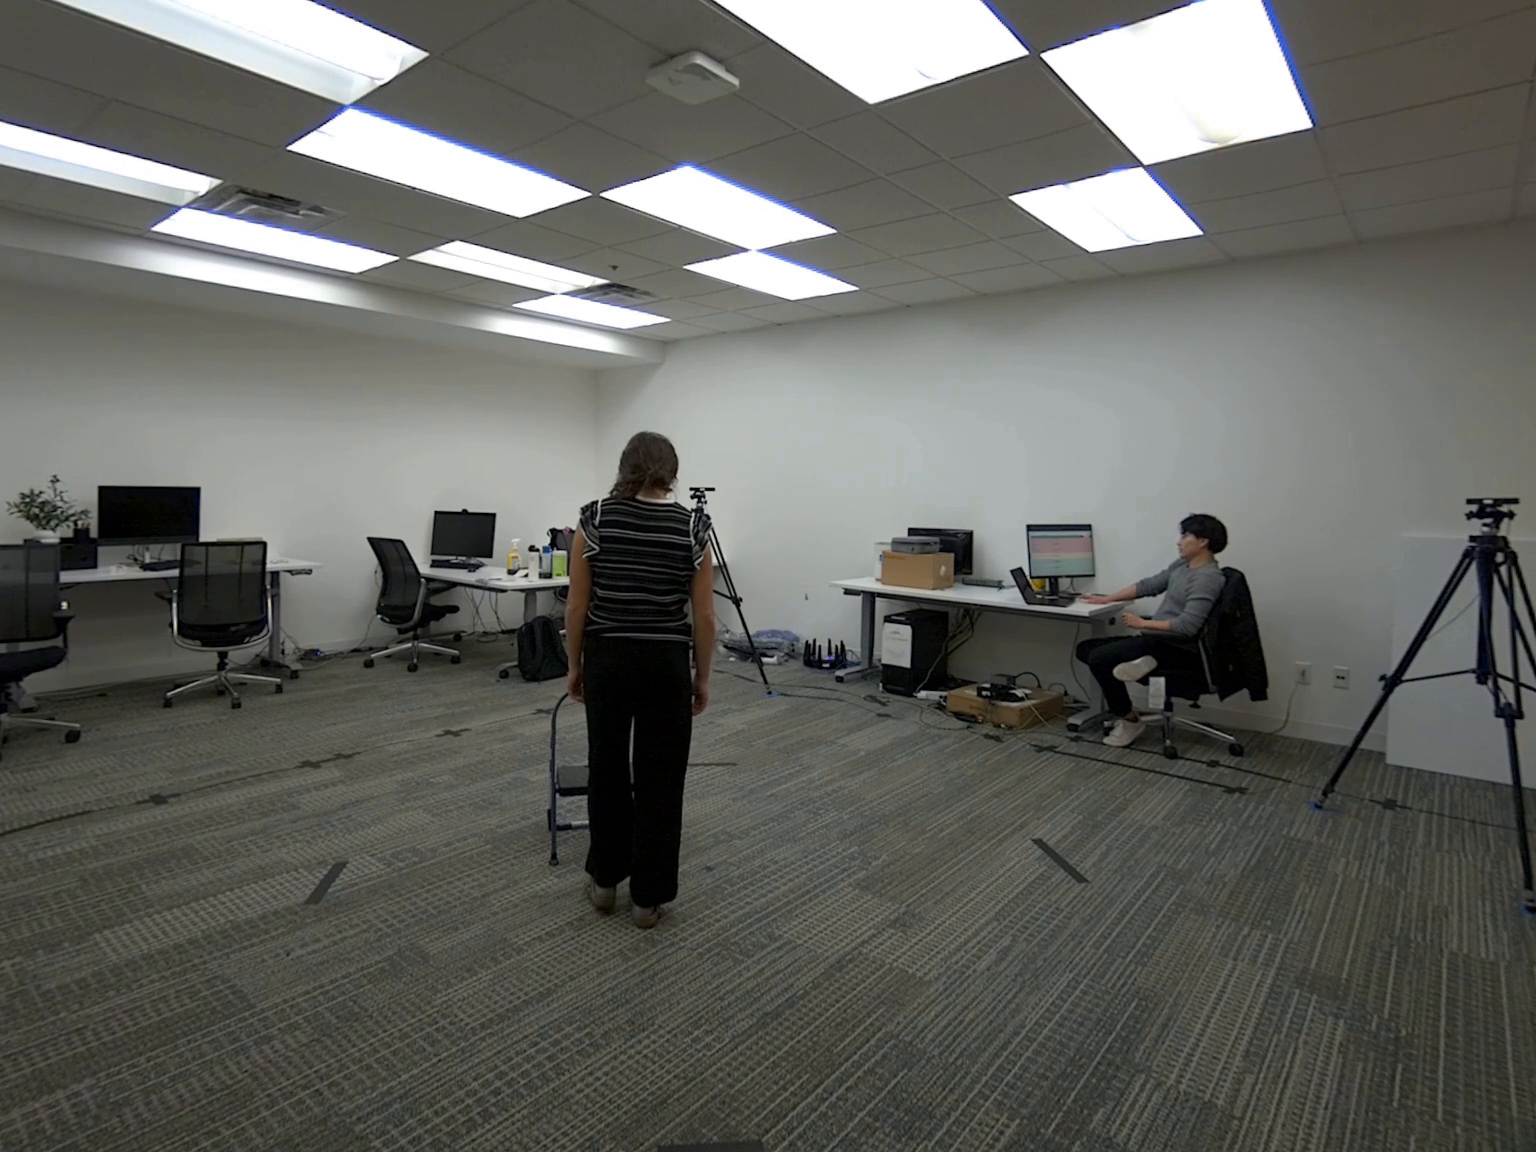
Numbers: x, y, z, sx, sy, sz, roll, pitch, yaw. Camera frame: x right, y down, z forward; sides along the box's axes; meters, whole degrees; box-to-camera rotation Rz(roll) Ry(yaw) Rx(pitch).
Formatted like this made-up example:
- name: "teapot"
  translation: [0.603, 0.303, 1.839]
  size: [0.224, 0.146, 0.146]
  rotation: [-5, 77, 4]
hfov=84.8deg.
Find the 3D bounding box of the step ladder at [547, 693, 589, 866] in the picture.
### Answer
- name: "step ladder"
  translation: [-0.654, 0.739, 3.315]
  size: [0.424, 0.604, 0.356]
  rotation: [1, 3, -16]
